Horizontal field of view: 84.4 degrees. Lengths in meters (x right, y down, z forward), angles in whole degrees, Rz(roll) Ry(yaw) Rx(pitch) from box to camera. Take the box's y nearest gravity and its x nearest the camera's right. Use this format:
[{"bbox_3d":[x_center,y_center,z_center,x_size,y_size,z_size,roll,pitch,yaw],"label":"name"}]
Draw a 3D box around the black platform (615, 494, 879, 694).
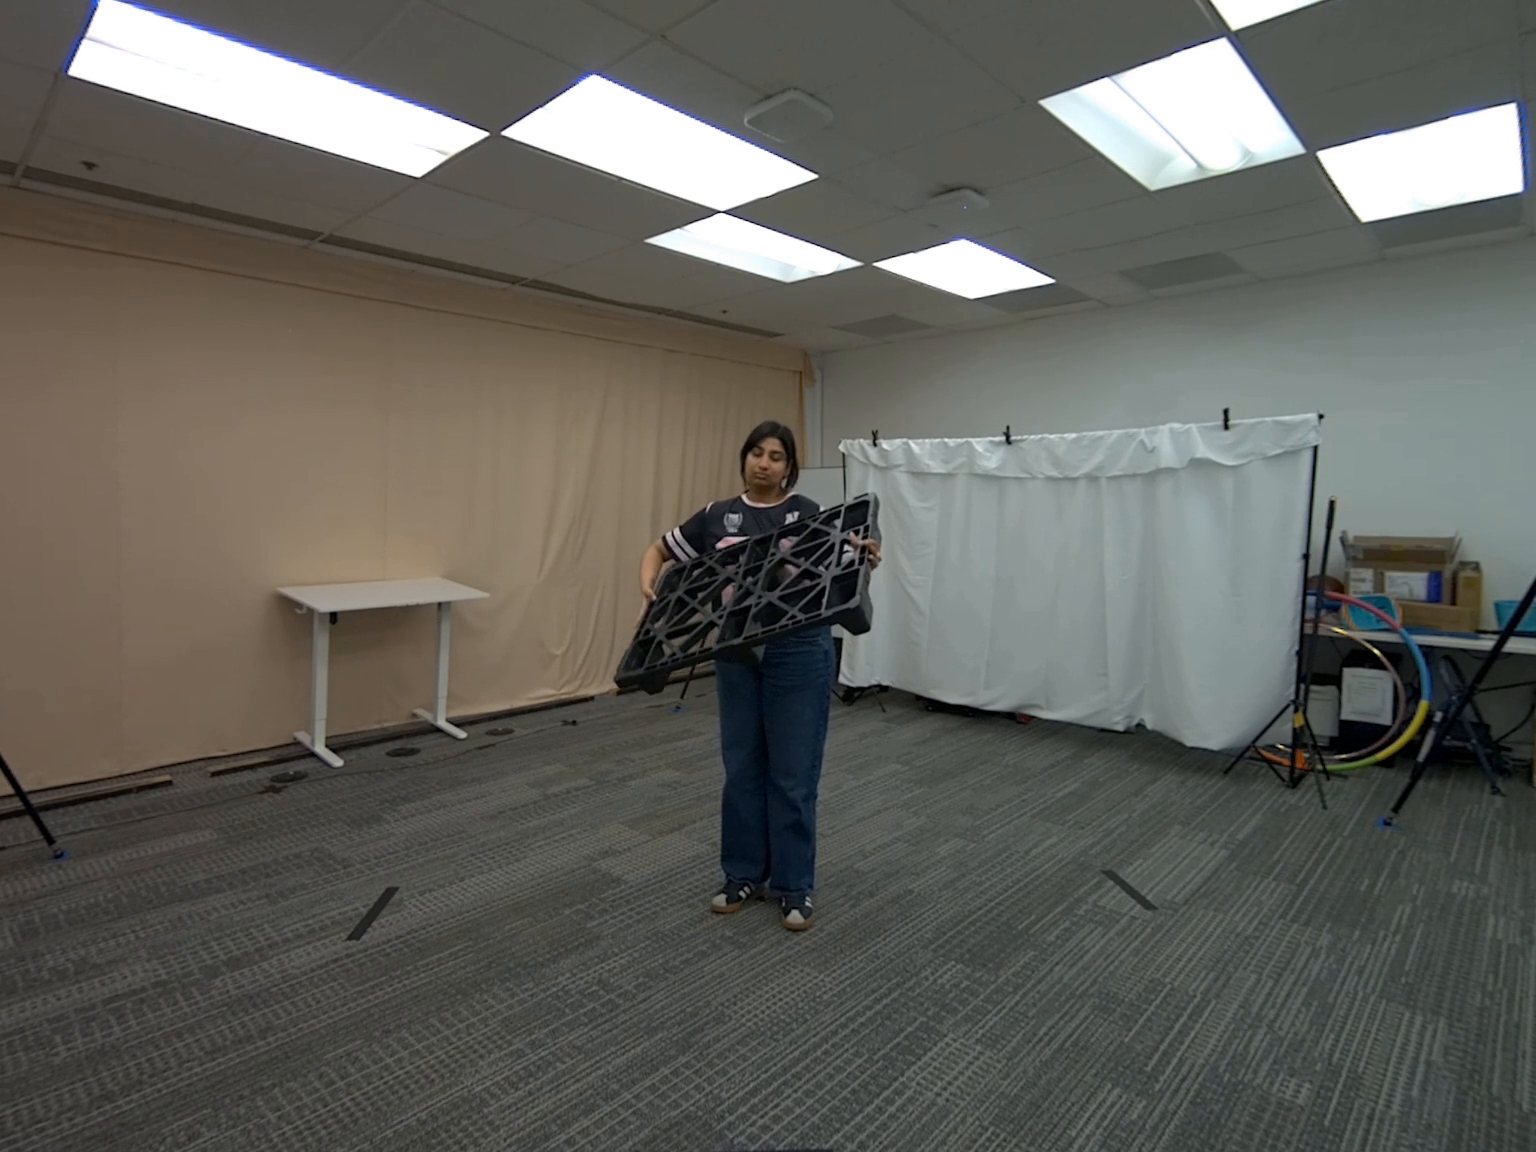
[{"bbox_3d":[-0.029,0.067,2.570,0.821,0.140,0.608,-19,28,25],"label":"black platform"}]
